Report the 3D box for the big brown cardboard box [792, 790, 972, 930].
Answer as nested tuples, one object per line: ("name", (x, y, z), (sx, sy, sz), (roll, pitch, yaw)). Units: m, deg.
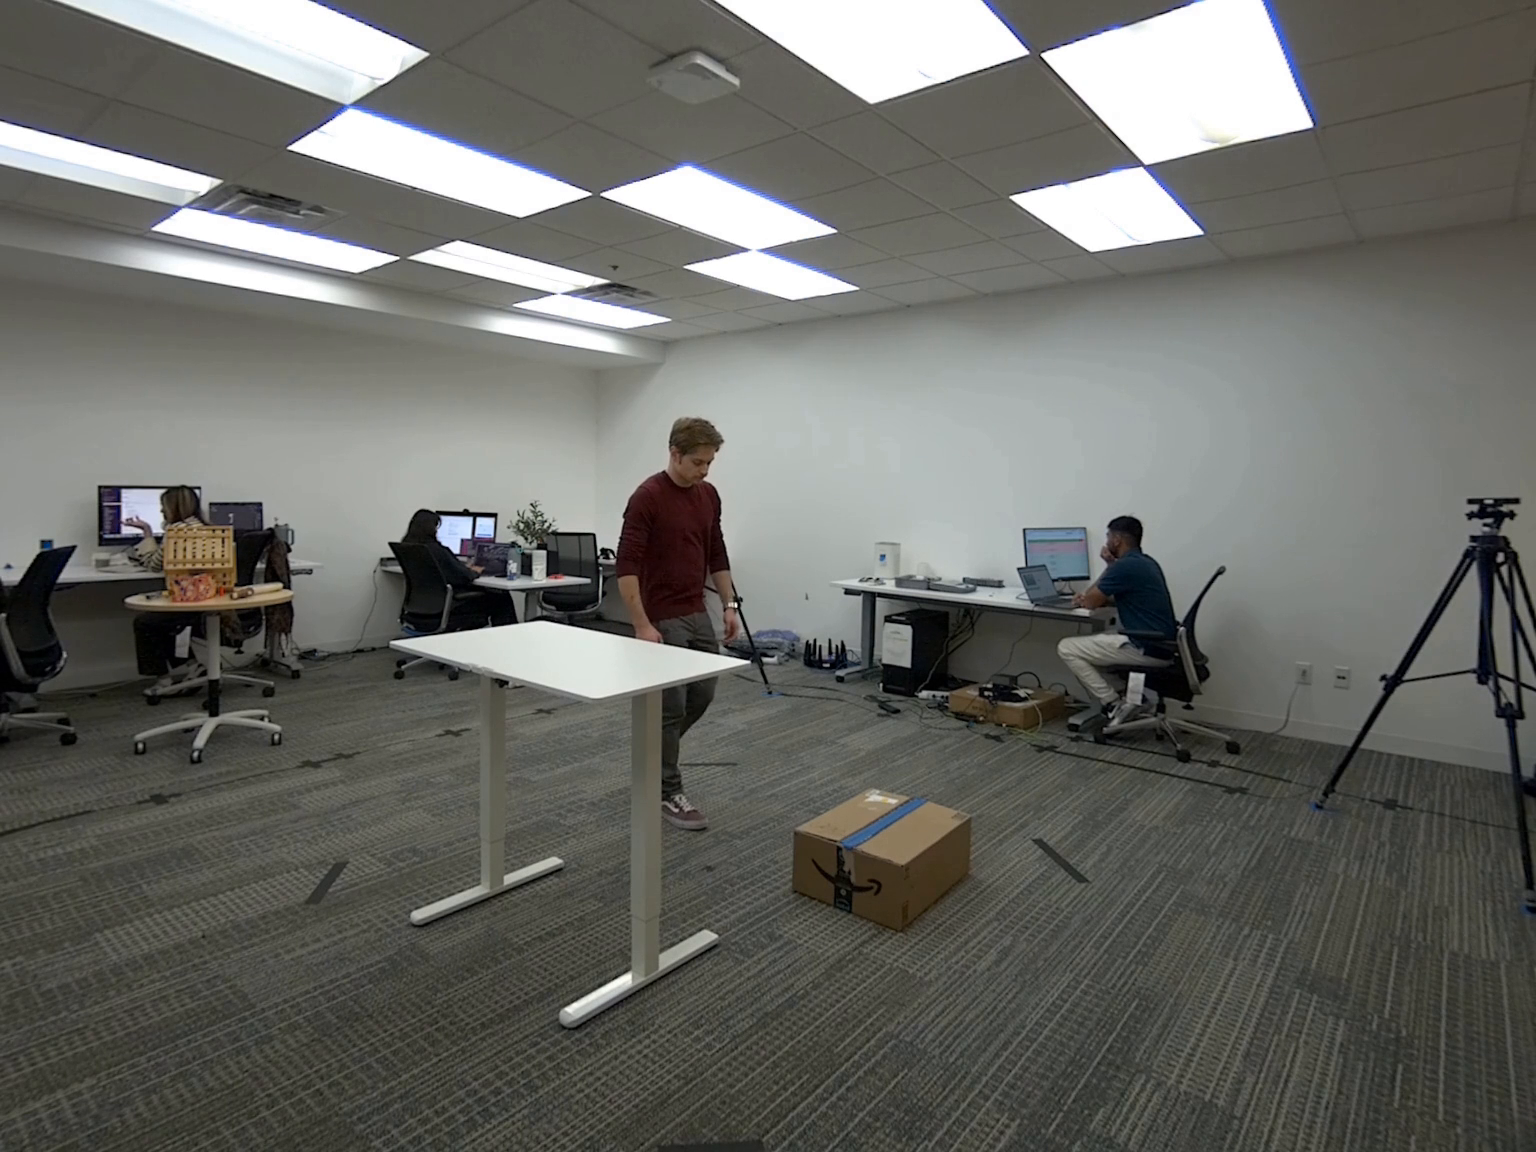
("big brown cardboard box", (0.413, 0.979, 3.032), (0.431, 0.232, 0.572), (5, 7, 36))
